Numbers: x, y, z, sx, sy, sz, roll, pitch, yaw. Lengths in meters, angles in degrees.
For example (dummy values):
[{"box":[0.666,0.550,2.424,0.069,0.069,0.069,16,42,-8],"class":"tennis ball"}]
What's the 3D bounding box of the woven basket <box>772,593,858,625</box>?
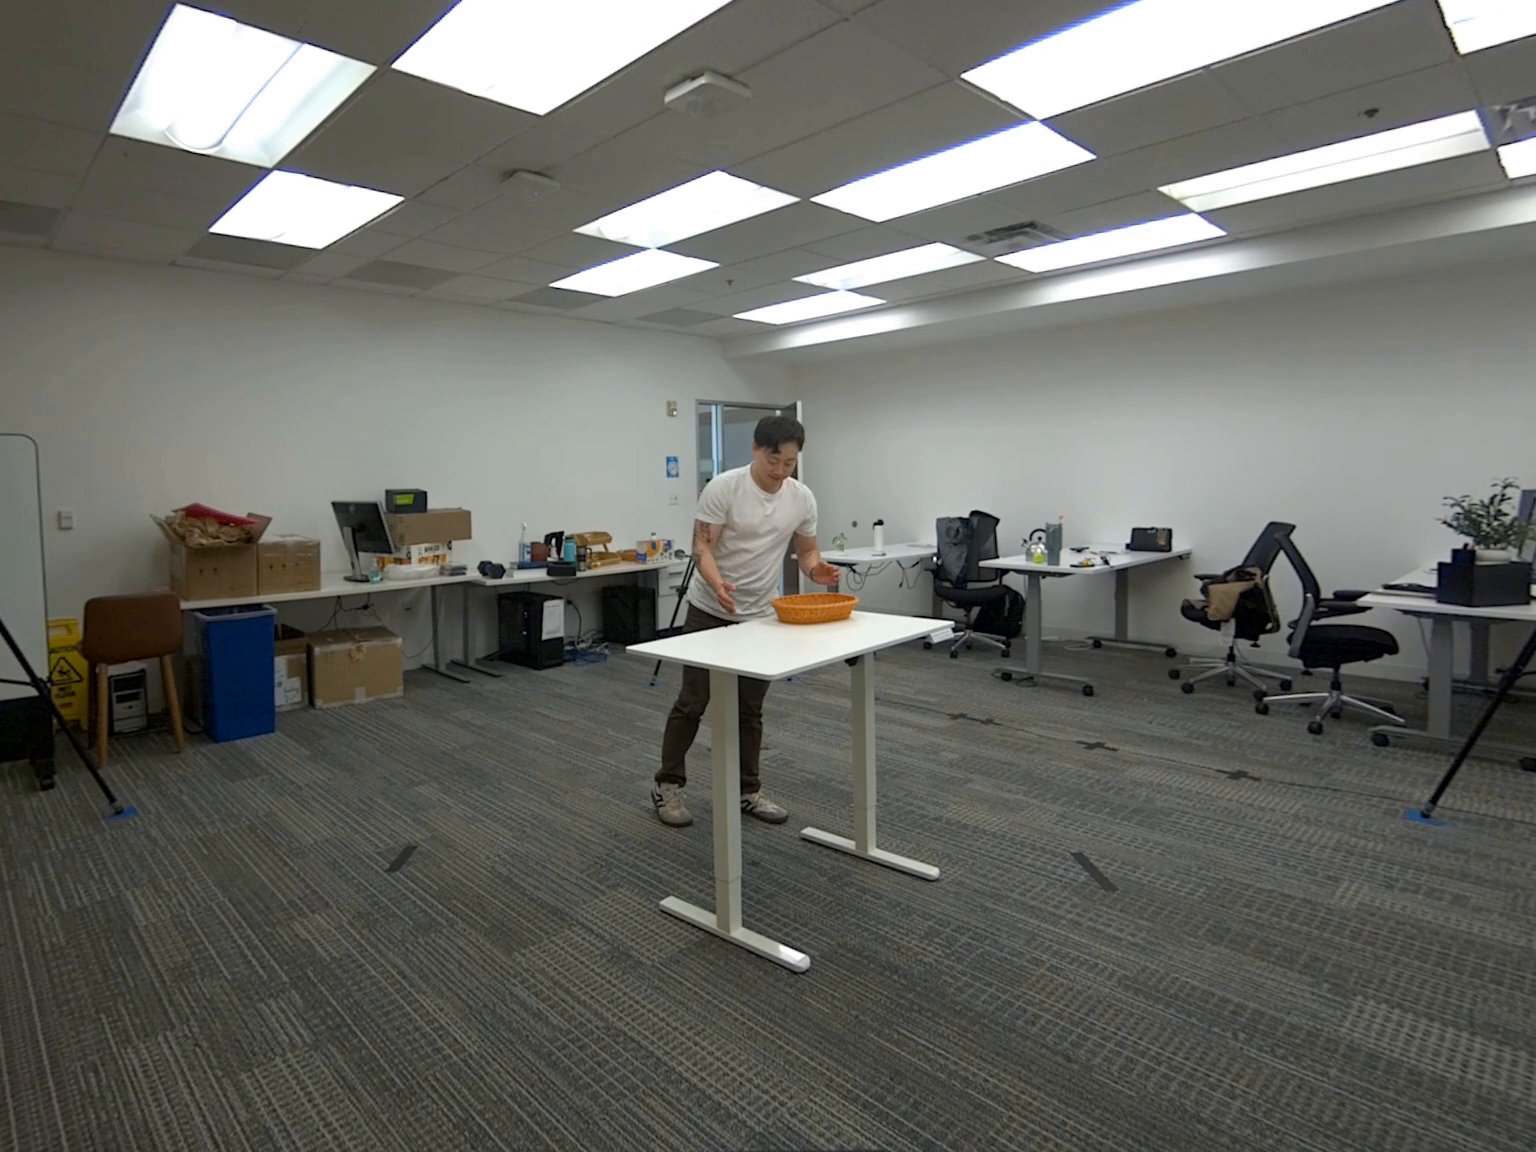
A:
[{"box":[0.178,0.128,3.096,0.342,0.073,0.260,-6,9,-33],"class":"woven basket"}]
